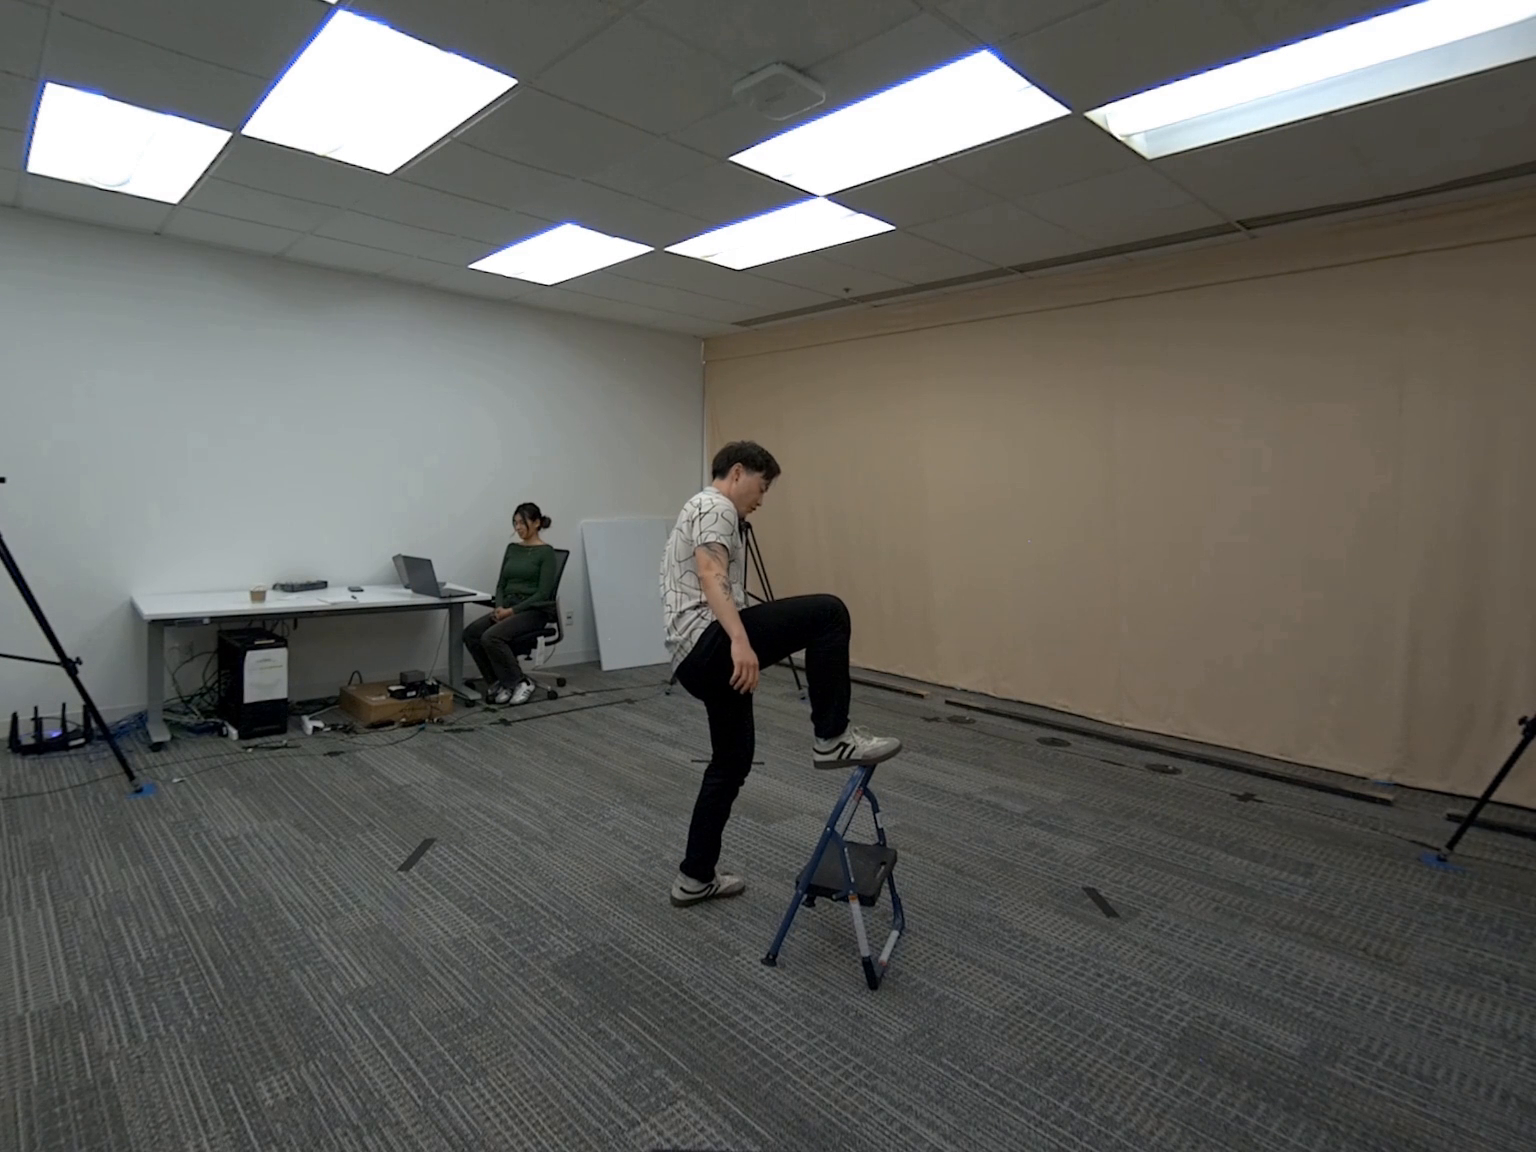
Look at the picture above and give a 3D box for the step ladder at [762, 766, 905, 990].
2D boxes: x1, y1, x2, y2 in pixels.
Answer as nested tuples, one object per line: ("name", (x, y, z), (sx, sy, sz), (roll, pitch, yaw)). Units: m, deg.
("step ladder", (0.225, 0.855, 2.616), (0.355, 0.604, 0.425), (3, 4, 21))
